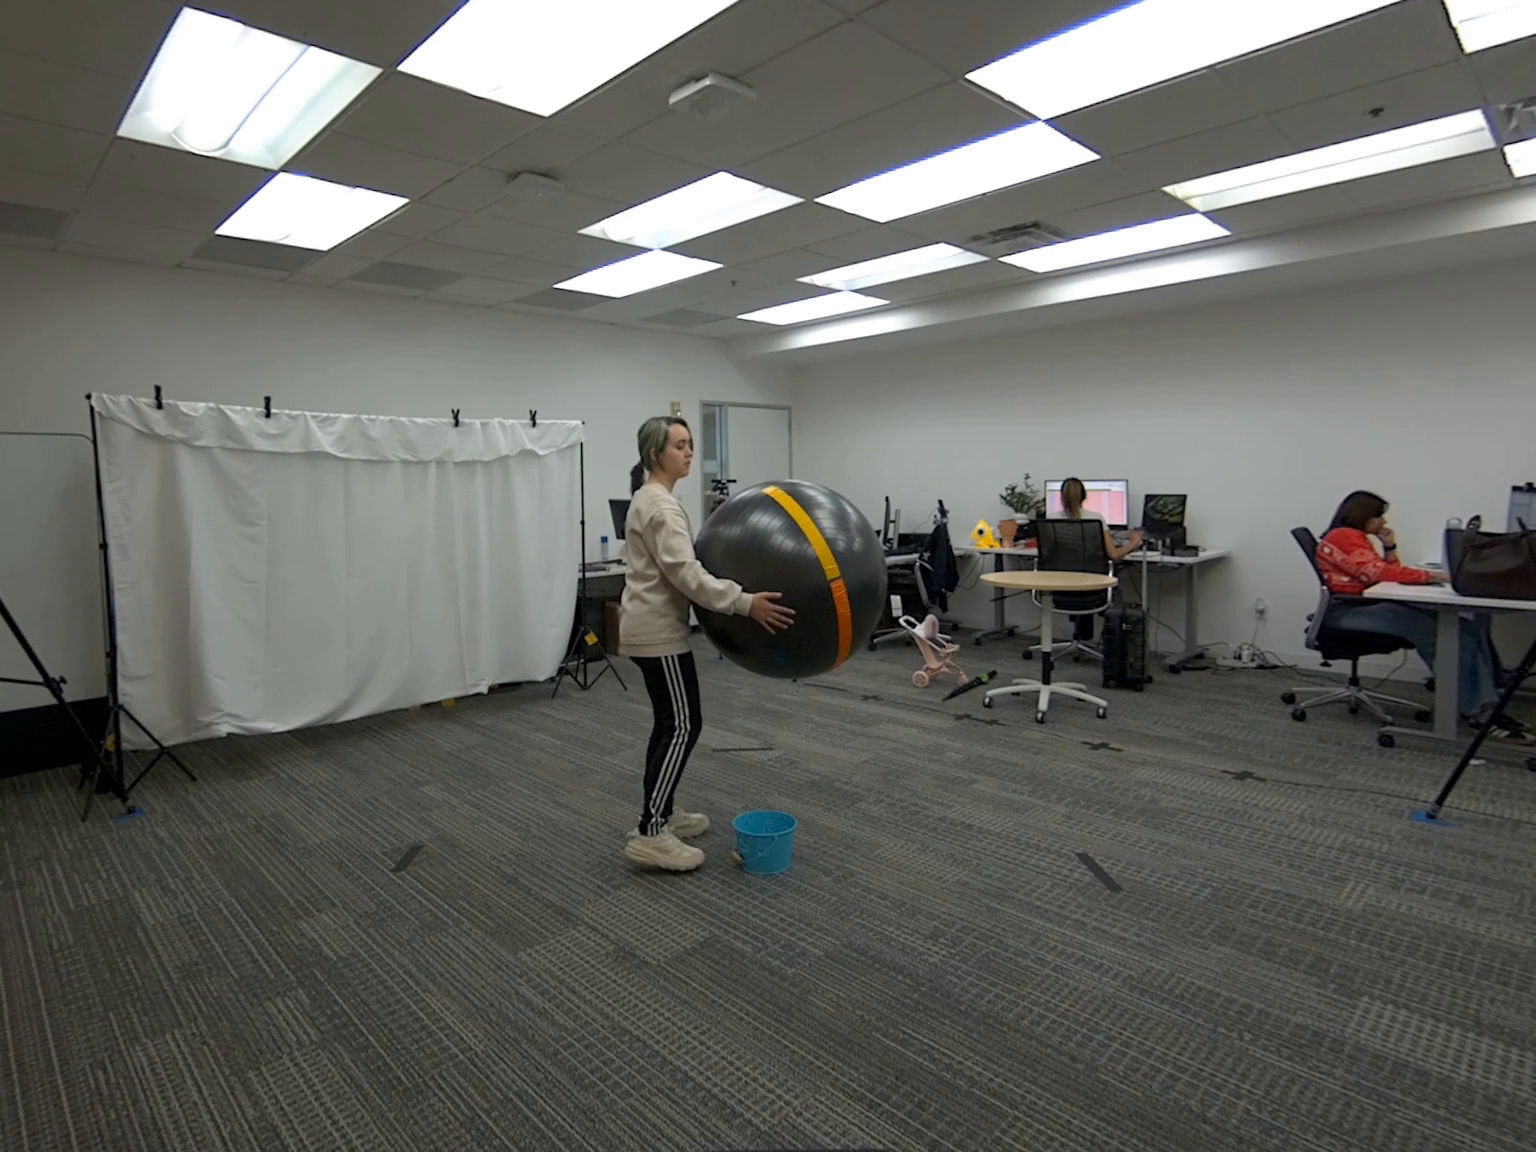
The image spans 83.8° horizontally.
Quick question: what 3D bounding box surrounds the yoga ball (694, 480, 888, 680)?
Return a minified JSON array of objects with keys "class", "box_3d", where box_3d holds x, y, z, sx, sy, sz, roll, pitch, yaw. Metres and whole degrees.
[{"class":"yoga ball","box_3d":[0.077,0.016,3.272,0.757,0.755,0.762,-1,5,-2]}]
